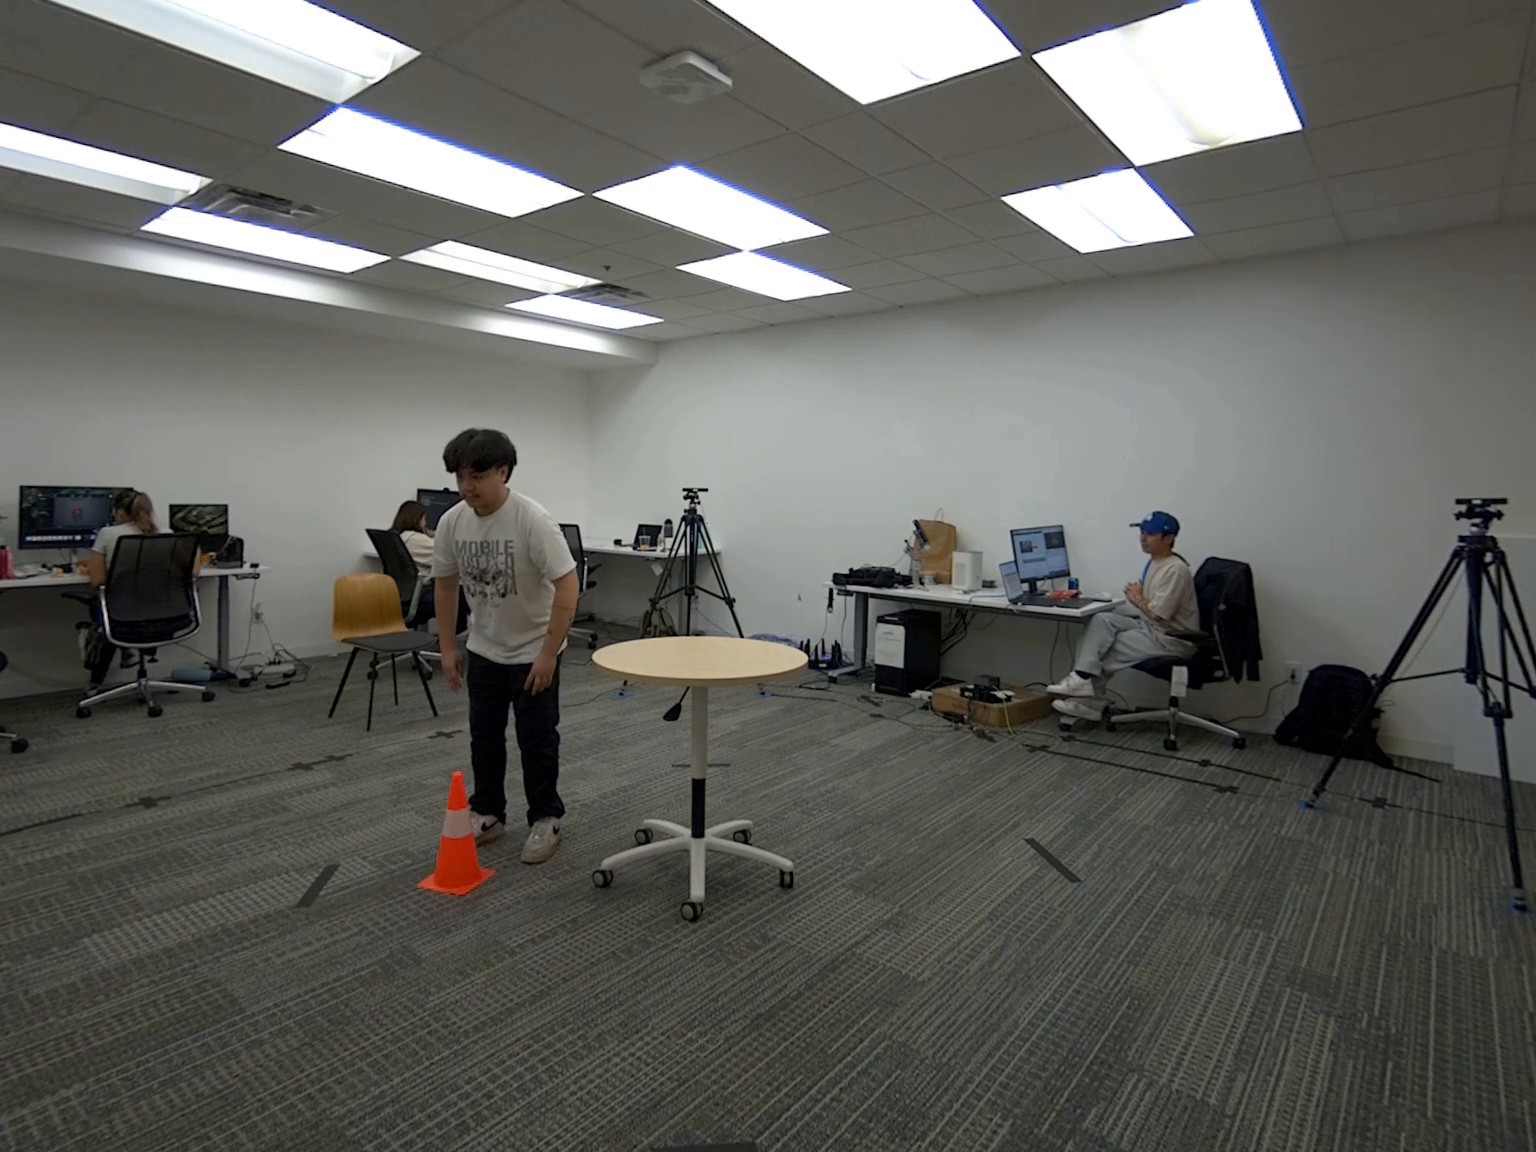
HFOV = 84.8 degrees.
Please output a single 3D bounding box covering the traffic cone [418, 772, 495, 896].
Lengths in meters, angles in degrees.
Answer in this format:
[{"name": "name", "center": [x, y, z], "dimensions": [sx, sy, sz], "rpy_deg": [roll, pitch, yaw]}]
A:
[{"name": "traffic cone", "center": [-1.116, 0.884, 2.987], "dimensions": [0.209, 0.382, 0.200], "rpy_deg": [4, 6, 29]}]
